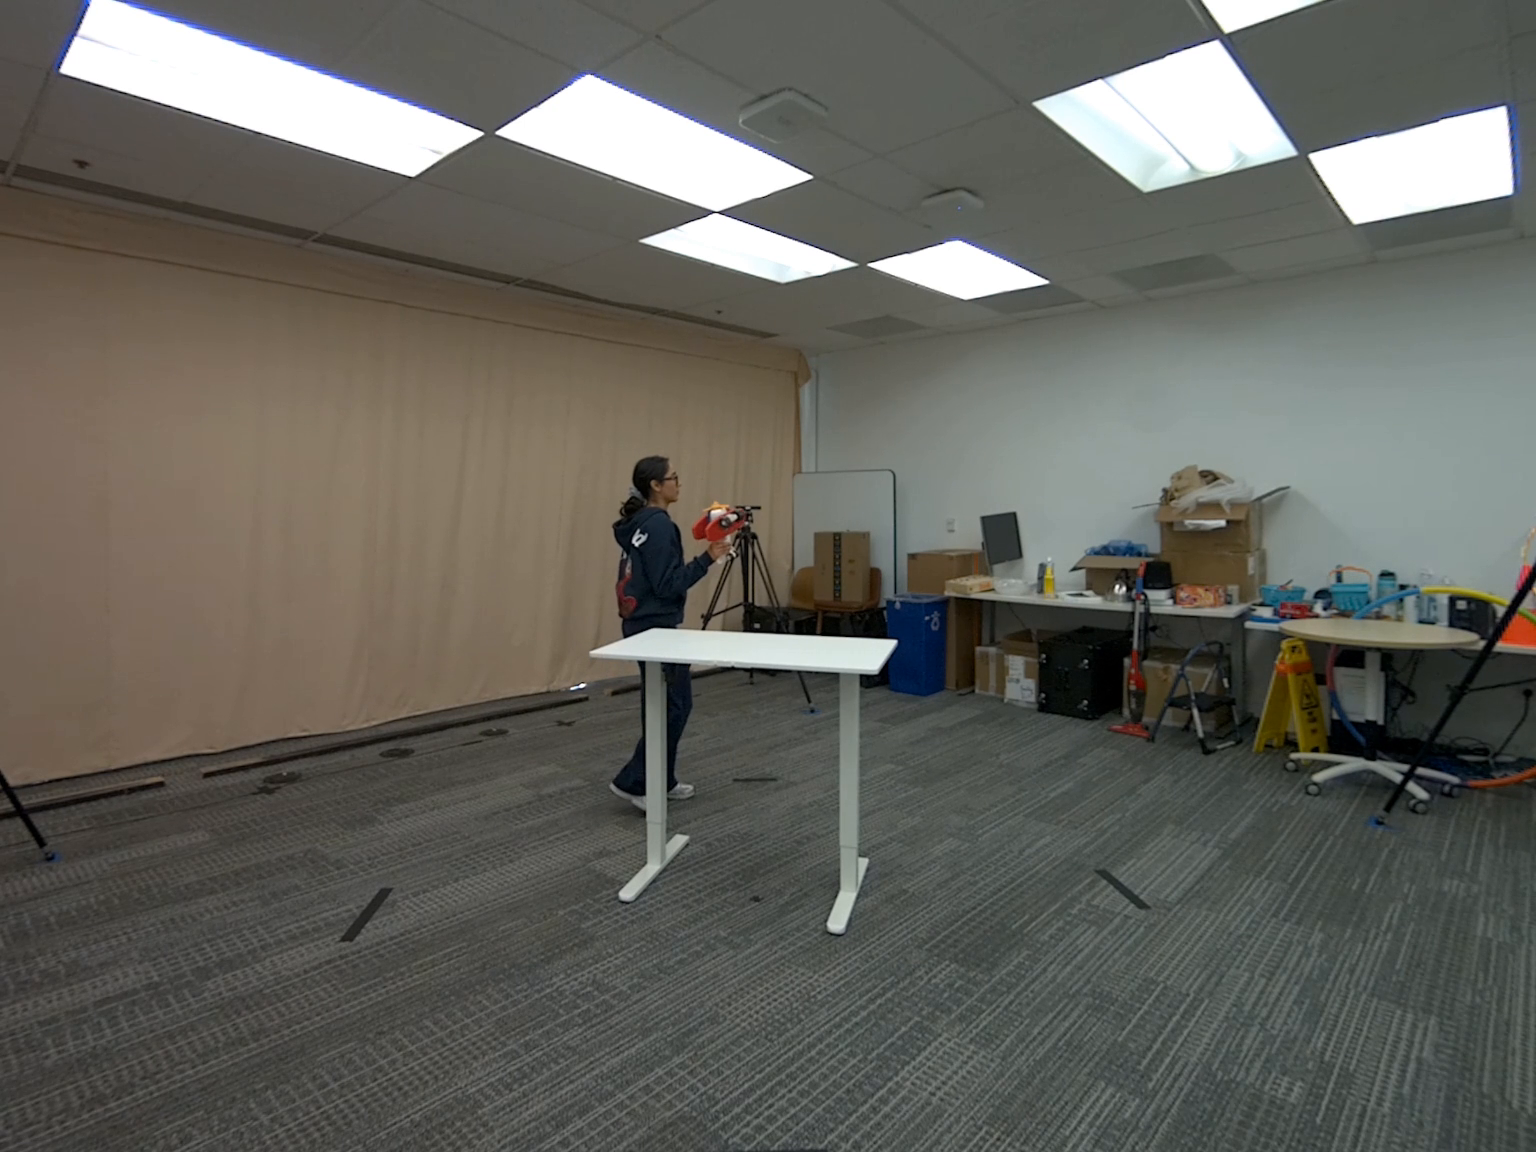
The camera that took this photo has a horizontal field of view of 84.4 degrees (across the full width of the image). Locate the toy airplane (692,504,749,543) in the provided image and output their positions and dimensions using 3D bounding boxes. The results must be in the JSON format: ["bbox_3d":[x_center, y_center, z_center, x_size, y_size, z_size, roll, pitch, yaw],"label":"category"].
[{"bbox_3d":[-0.193,-0.181,3.675,0.162,0.258,0.243,22,10,33],"label":"toy airplane"}]
